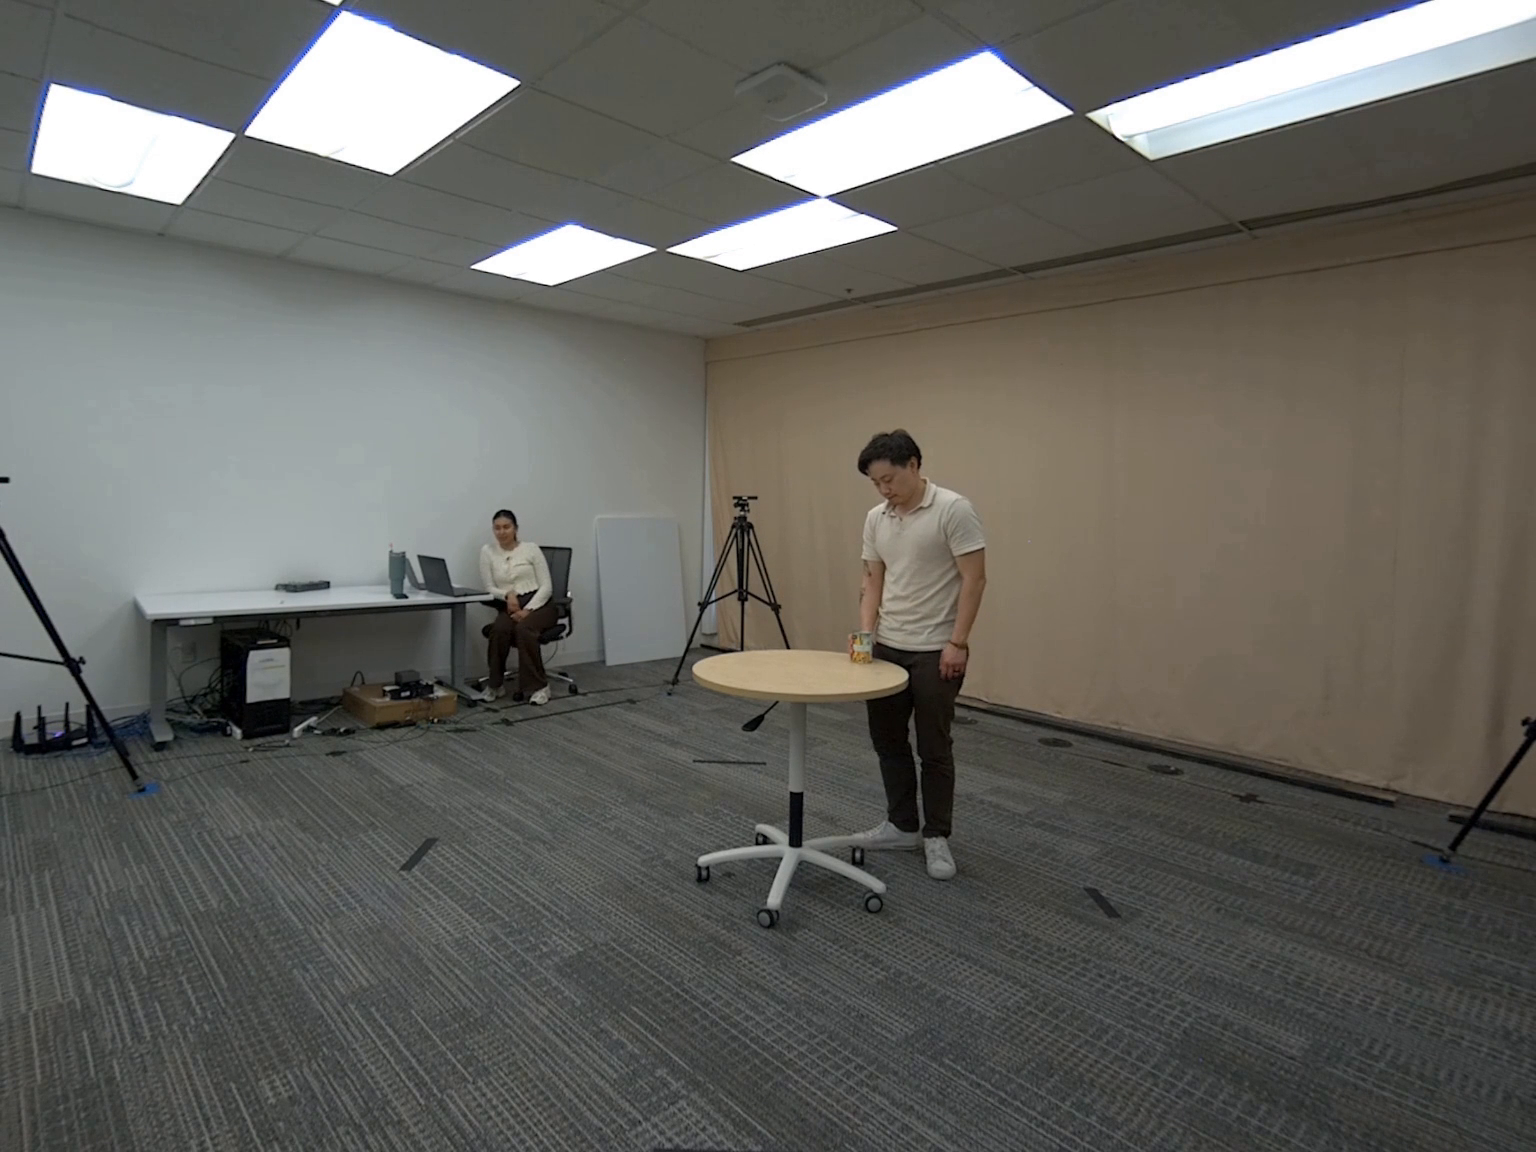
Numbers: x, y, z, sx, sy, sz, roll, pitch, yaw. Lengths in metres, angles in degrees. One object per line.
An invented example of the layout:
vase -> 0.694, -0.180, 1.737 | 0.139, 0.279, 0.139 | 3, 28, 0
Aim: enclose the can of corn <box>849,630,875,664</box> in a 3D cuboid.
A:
can of corn -> 0.335, 0.265, 3.180 | 0.074, 0.111, 0.074 | 2, -2, -1
